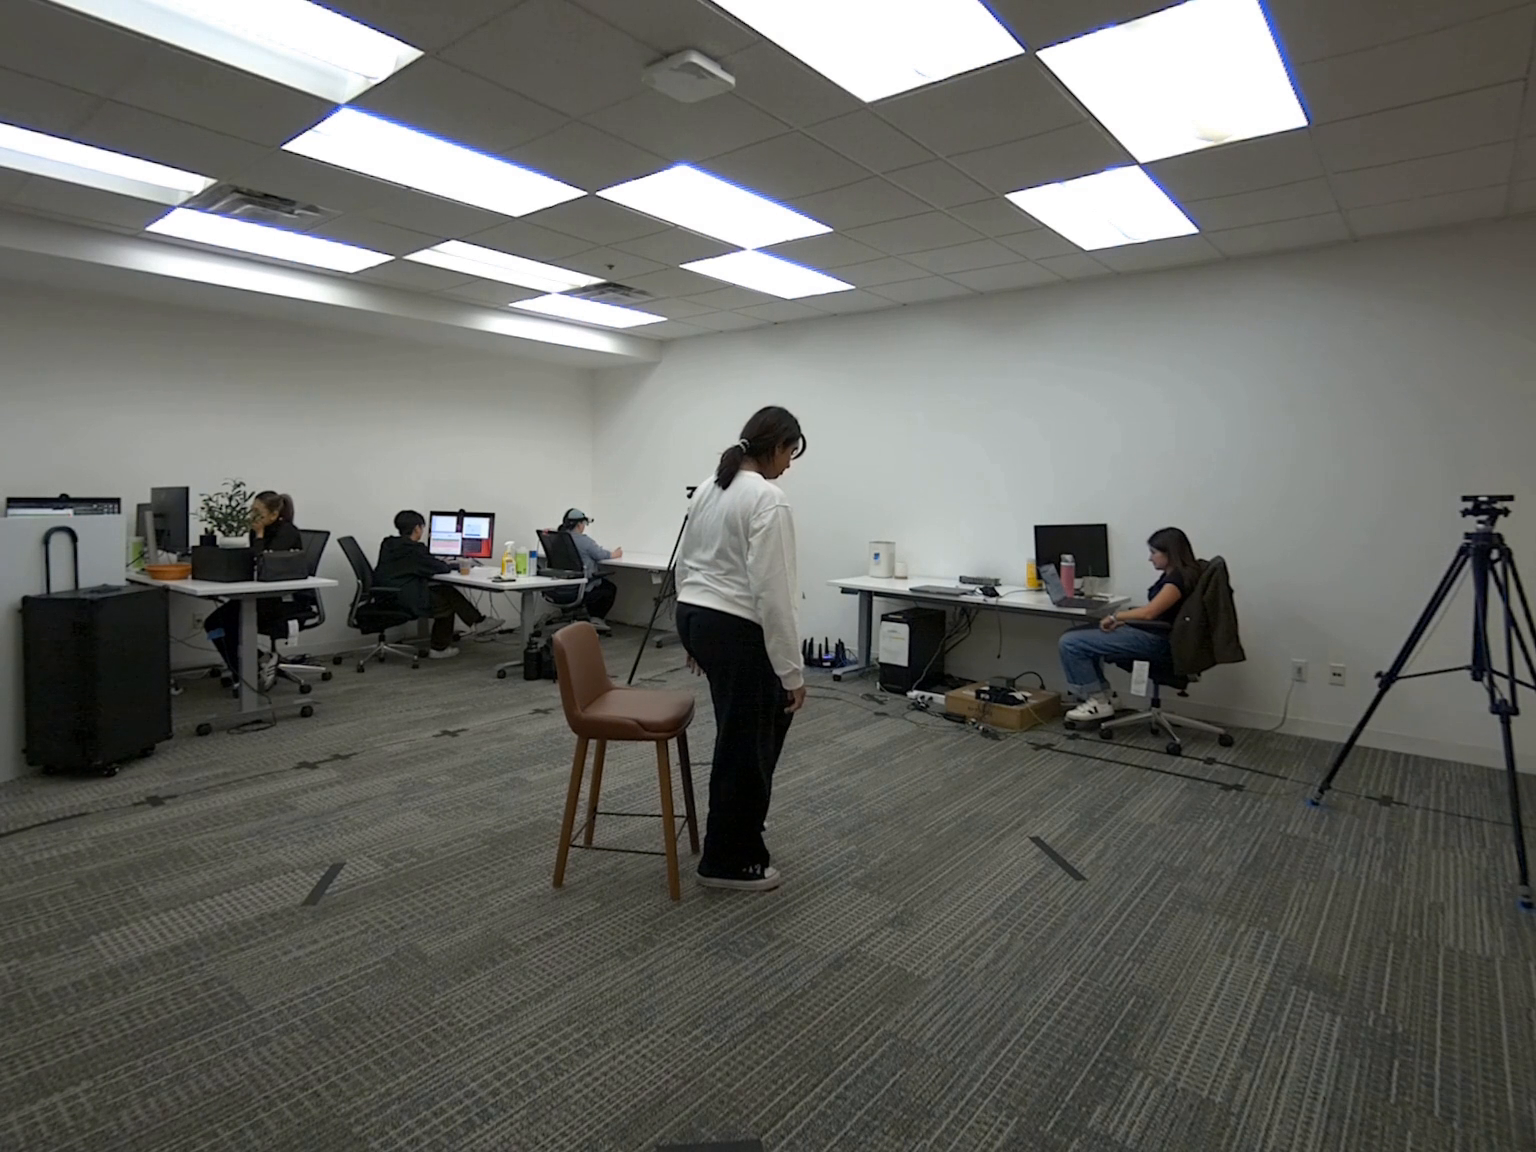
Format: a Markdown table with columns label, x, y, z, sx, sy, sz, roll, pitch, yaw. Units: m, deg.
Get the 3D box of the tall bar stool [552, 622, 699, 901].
| label | x | y | z | sx | sy | sz | roll | pitch | yaw |
| --- | --- | --- | --- | --- | --- | --- | --- | --- | --- |
| tall bar stool | -0.506 | 0.631 | 3.071 | 0.472 | 0.888 | 0.453 | 0 | 3 | 8 |
